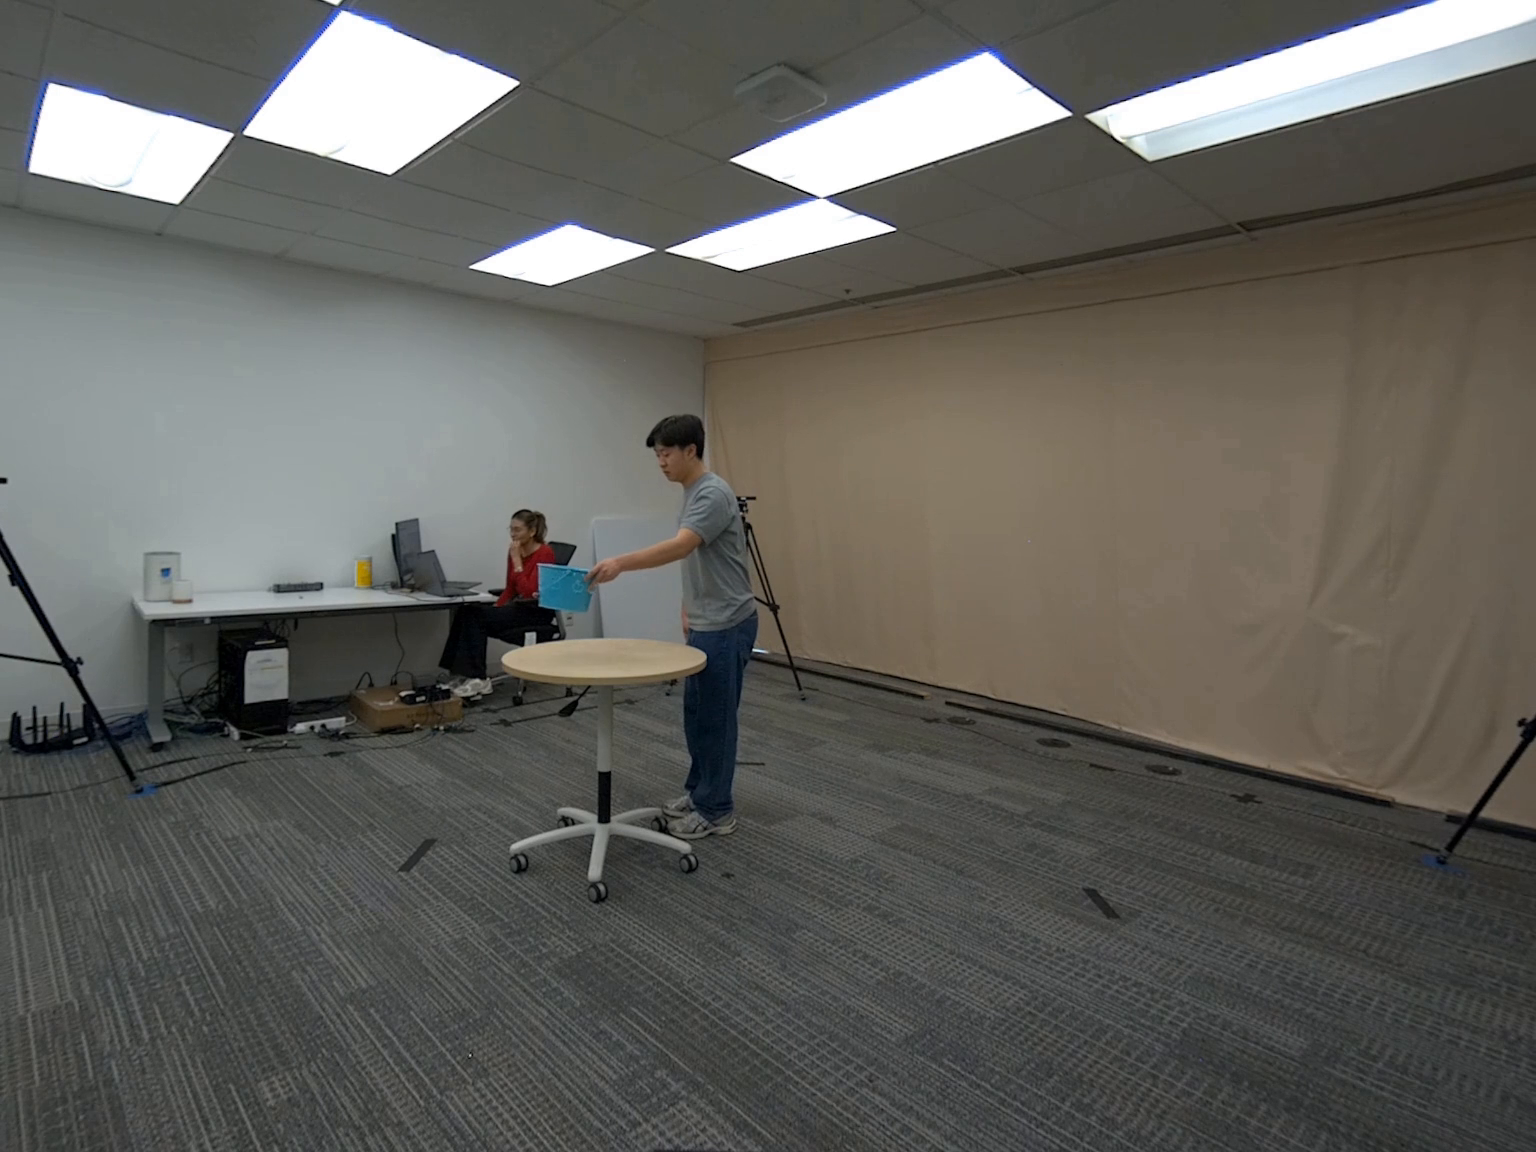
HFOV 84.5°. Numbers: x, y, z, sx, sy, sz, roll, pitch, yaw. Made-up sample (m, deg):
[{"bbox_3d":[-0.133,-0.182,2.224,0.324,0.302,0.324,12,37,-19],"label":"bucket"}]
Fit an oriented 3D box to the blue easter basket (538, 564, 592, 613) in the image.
[{"bbox_3d":[-0.769,0.054,3.109,0.243,0.156,0.243,7,0,-1],"label":"blue easter basket"}]
